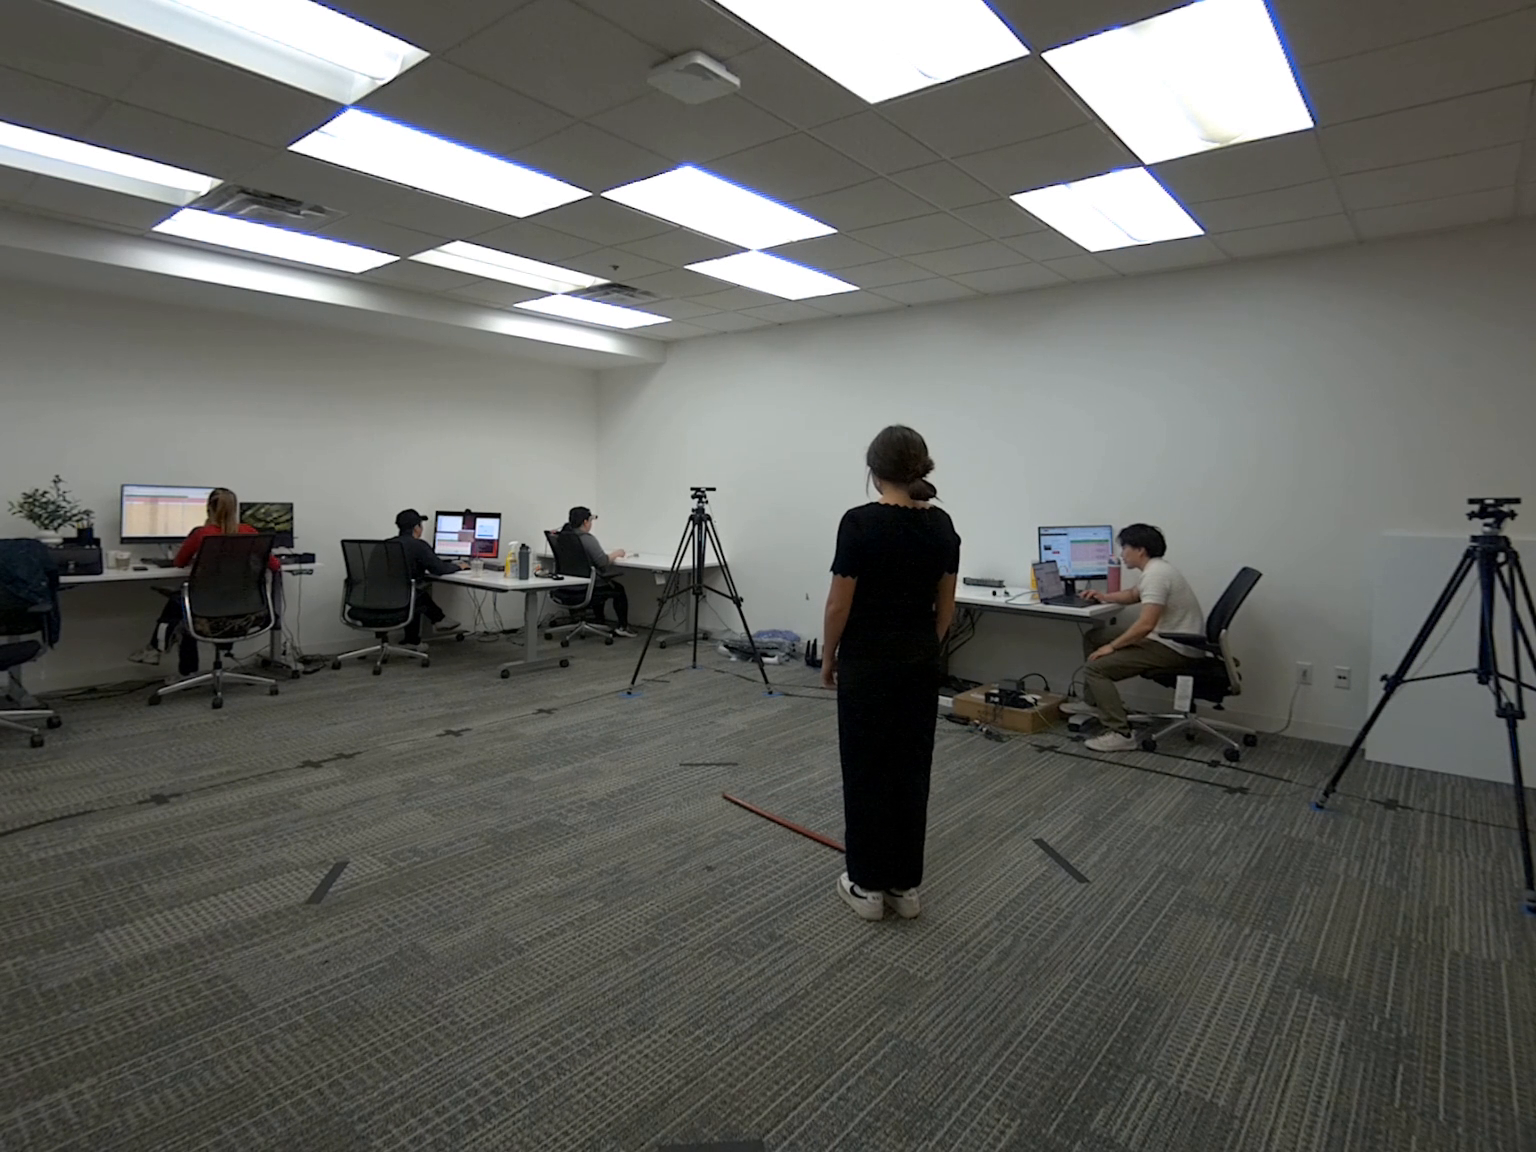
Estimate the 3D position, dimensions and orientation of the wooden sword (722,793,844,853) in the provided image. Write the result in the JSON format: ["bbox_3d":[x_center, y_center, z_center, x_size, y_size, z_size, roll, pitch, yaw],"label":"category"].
[{"bbox_3d":[0.127,1.018,3.444,0.049,0.024,1.060,4,3,-42],"label":"wooden sword"}]
